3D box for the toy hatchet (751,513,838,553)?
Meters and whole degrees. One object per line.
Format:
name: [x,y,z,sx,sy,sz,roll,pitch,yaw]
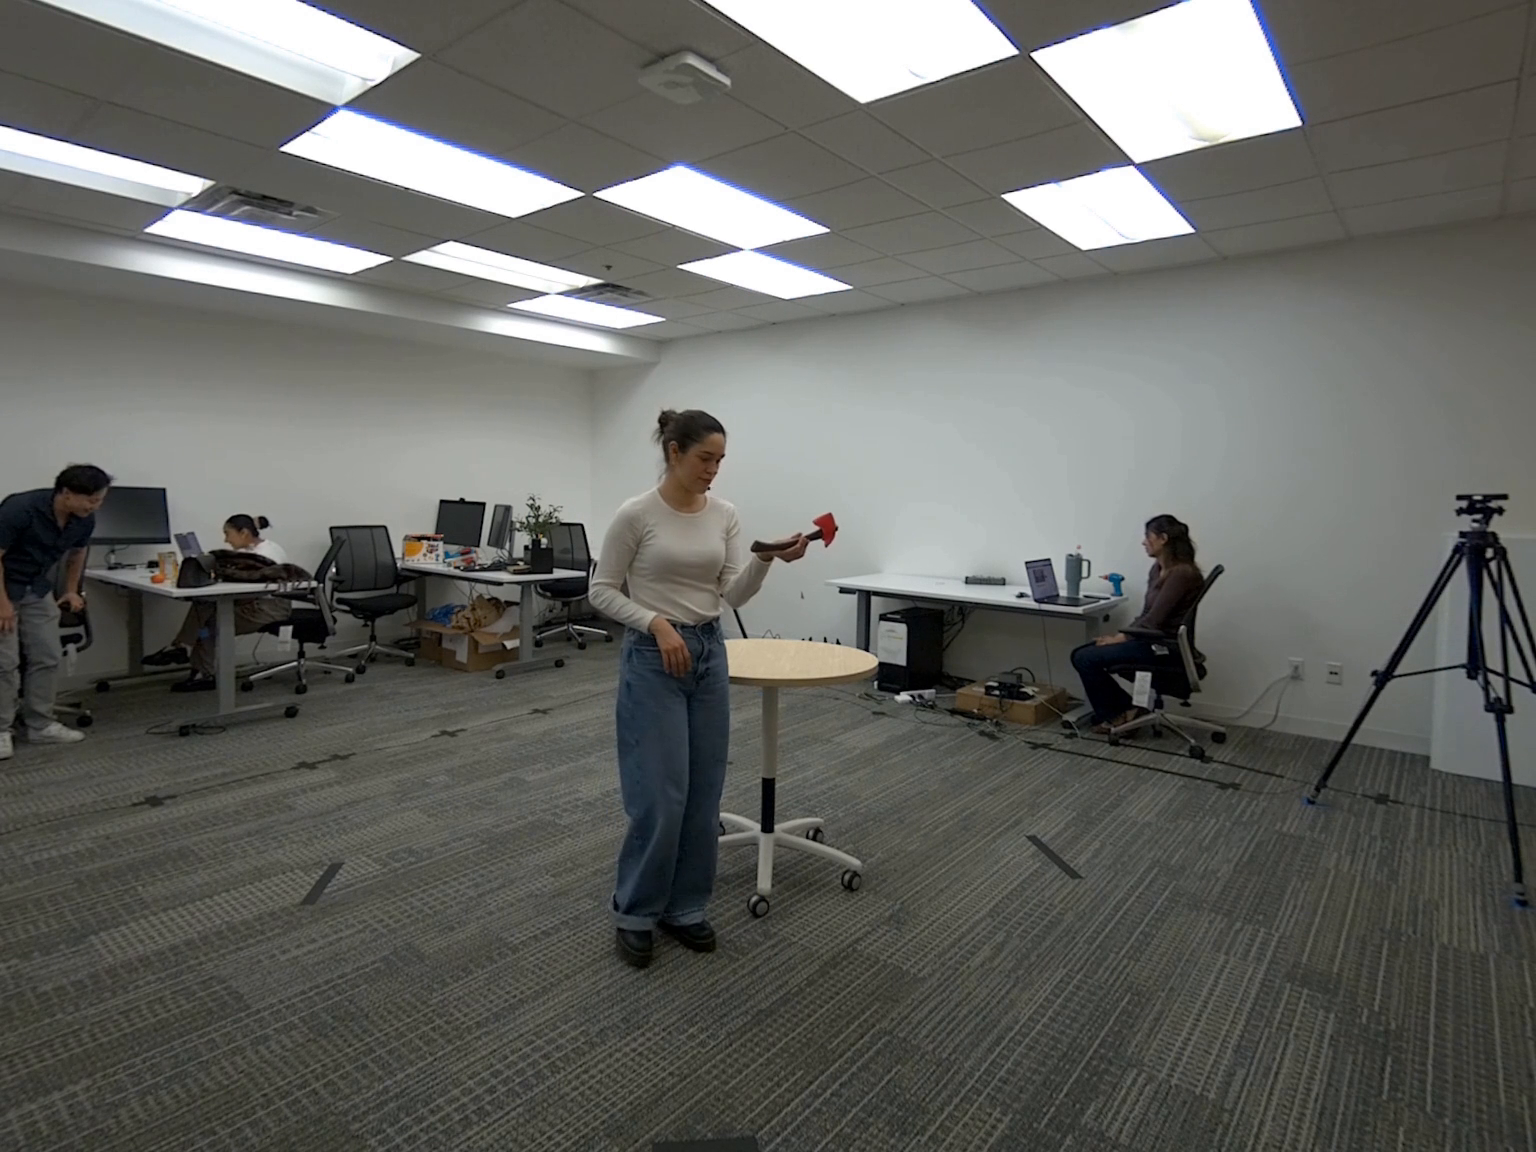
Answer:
toy hatchet: [0.064,-0.132,2.376,0.263,0.129,0.031,1,43,-27]
